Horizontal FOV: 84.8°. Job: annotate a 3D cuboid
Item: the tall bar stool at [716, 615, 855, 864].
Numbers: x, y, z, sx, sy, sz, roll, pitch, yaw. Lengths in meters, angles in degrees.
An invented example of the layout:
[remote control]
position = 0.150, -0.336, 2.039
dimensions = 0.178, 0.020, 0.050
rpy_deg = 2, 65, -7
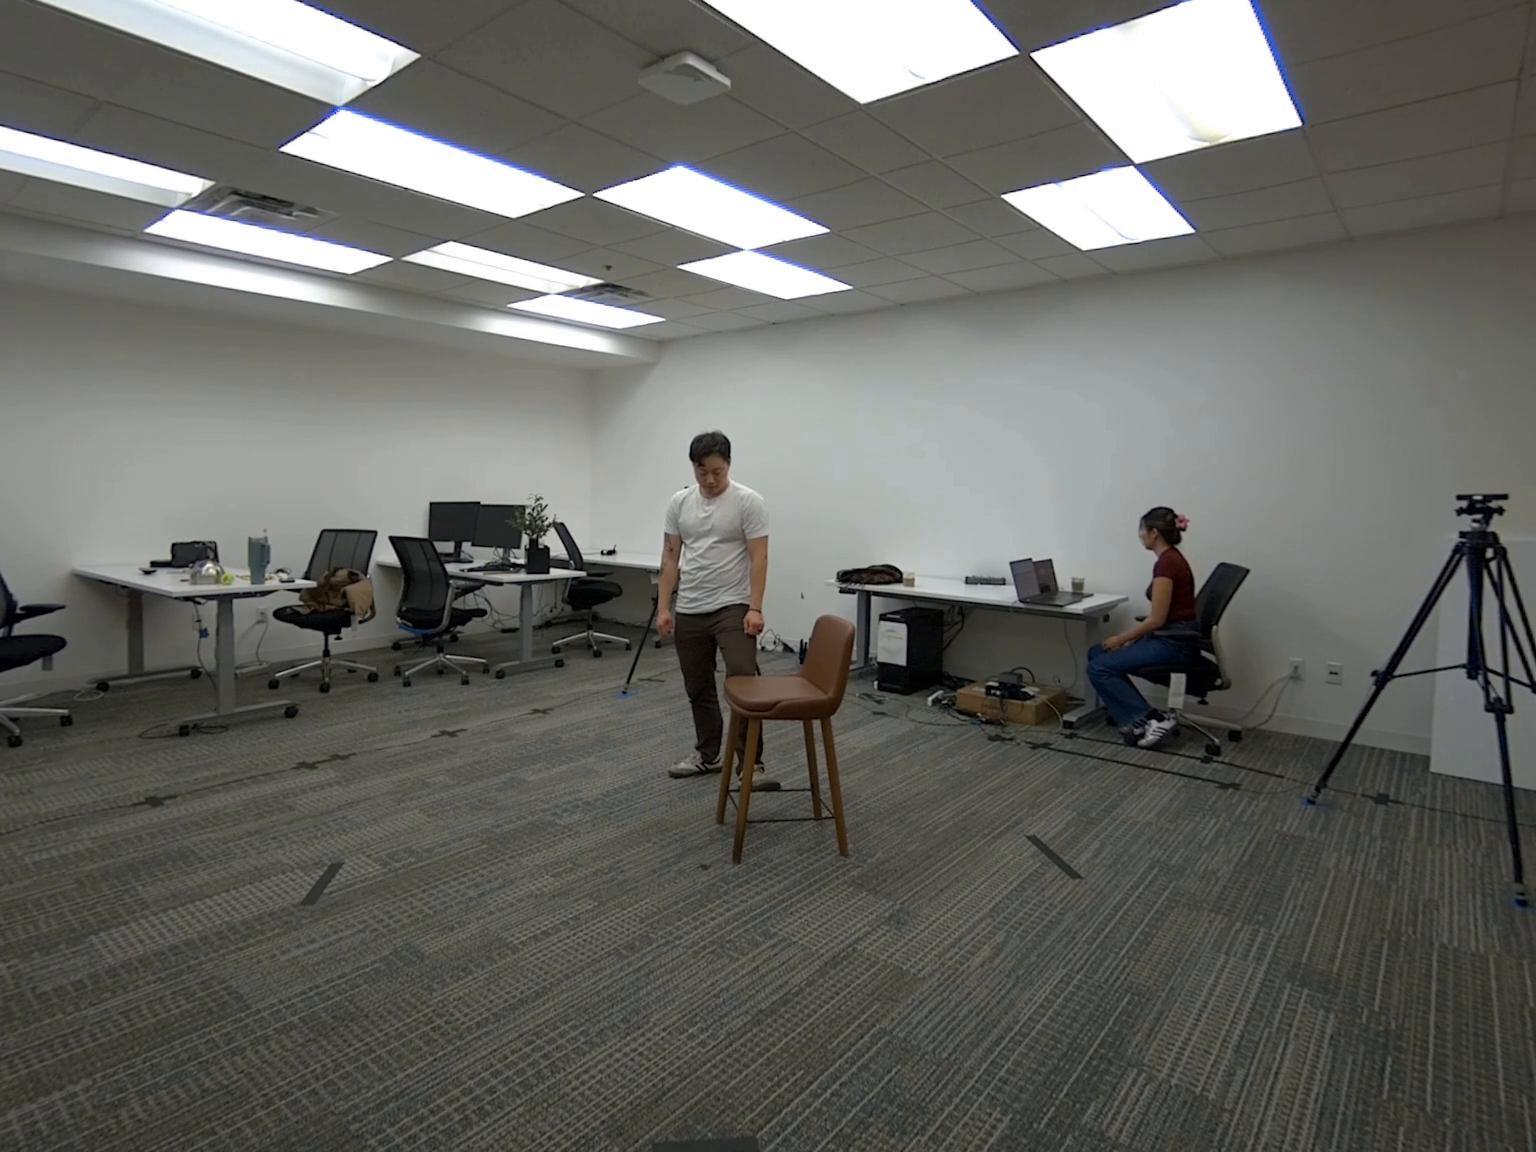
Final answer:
[tall bar stool]
position = 0.055, 0.609, 3.360
dimensions = 0.462, 0.887, 0.463
rpy_deg = 2, 3, -12
